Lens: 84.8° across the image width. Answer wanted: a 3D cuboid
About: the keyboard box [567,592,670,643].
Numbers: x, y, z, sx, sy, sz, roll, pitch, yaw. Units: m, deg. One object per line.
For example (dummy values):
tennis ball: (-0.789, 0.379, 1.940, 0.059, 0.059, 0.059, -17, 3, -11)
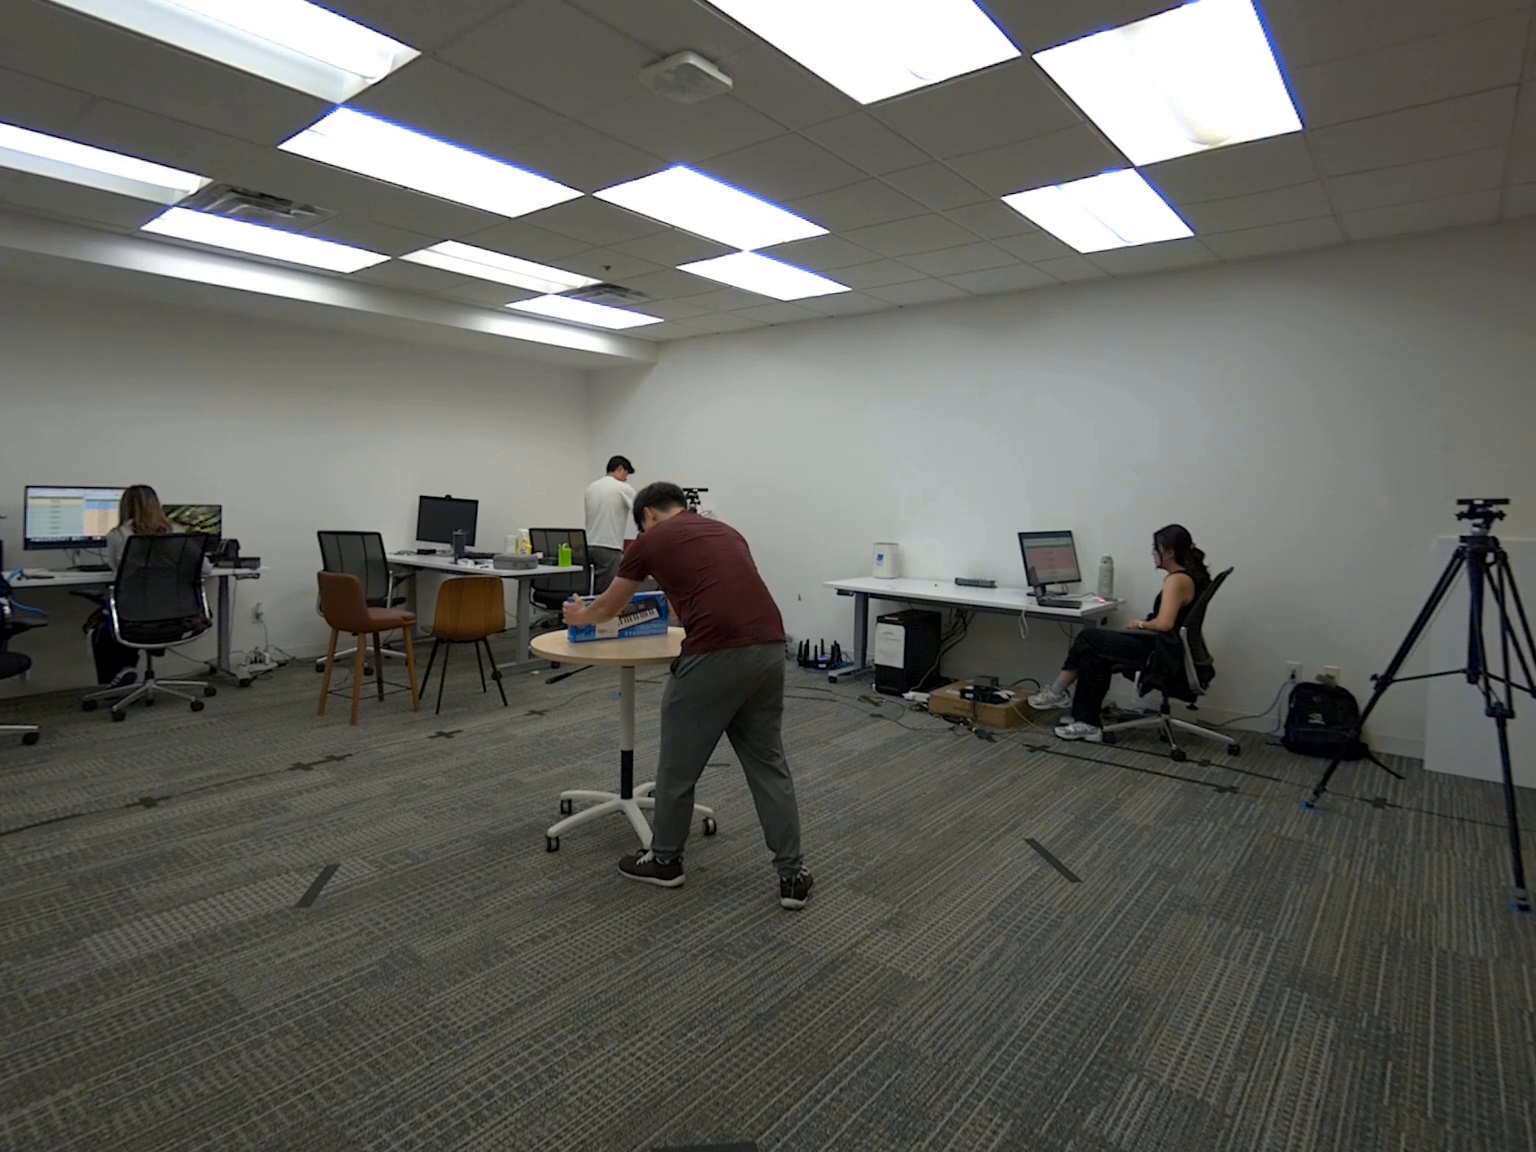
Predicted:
keyboard box: (-0.620, 0.166, 3.481, 0.424, 0.175, 0.061, -4, 4, -35)
